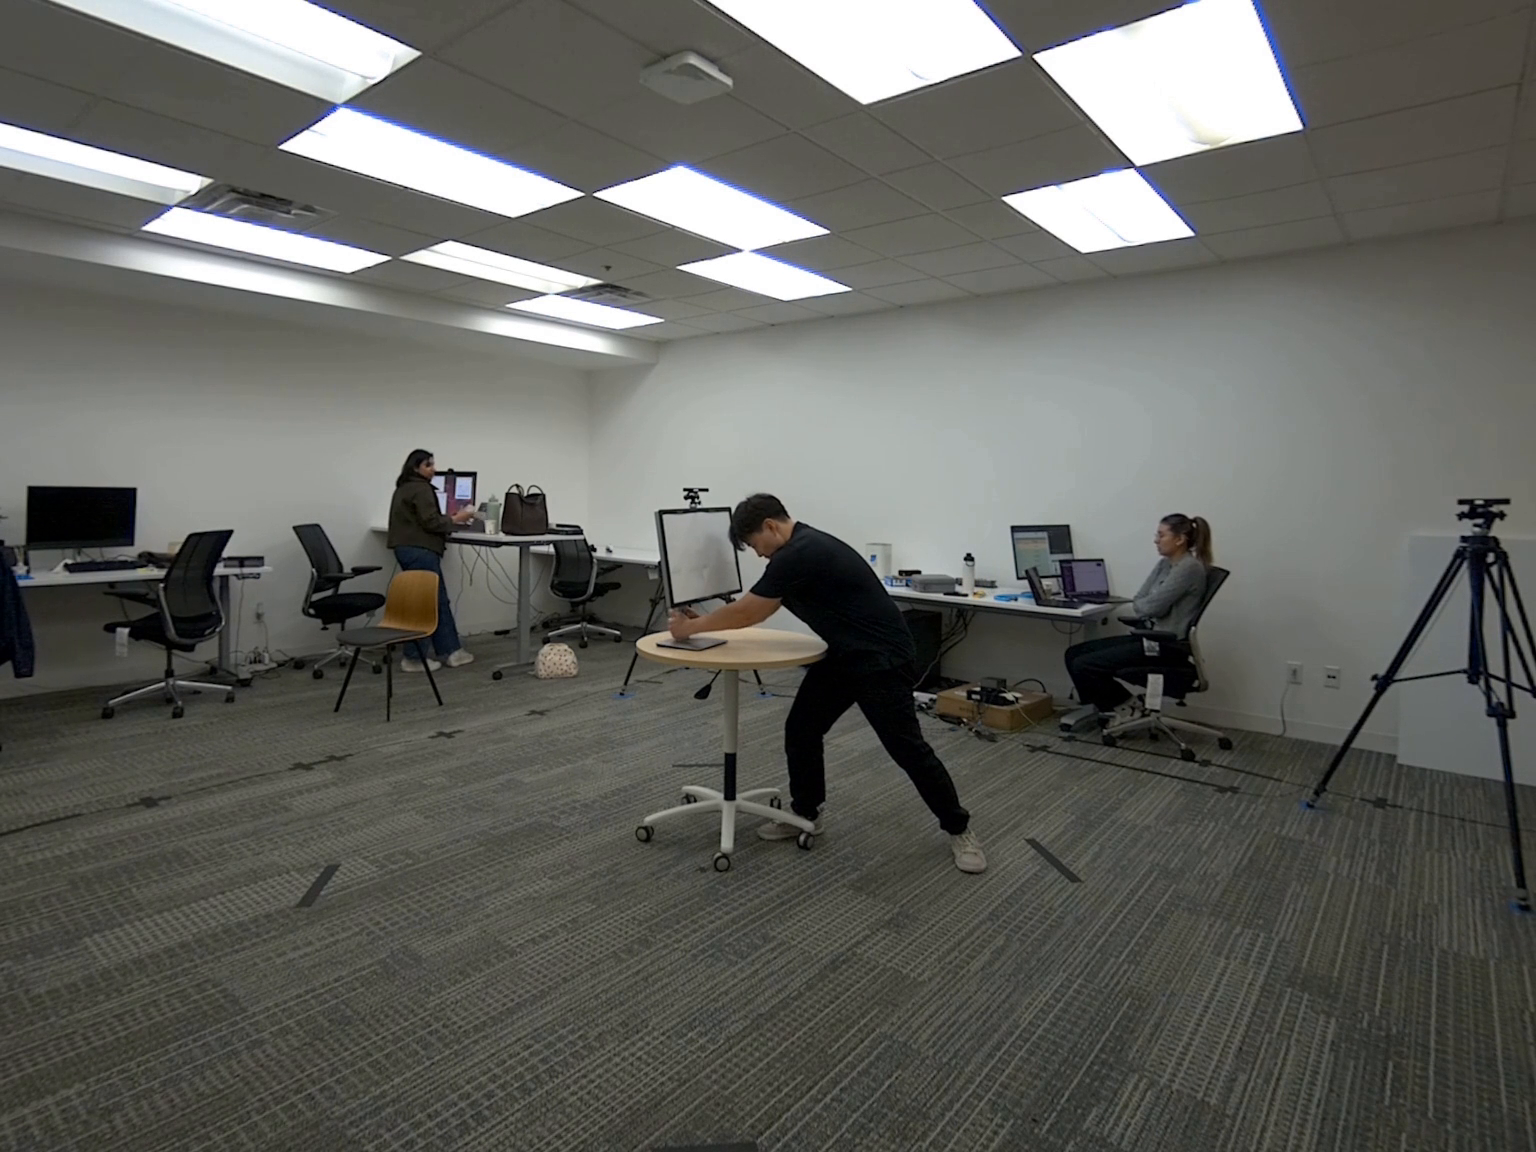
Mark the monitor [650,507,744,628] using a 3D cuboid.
[{"bbox_3d":[-0.305,0.001,3.366,0.192,0.521,0.527,4,5,24],"label":"monitor"}]
